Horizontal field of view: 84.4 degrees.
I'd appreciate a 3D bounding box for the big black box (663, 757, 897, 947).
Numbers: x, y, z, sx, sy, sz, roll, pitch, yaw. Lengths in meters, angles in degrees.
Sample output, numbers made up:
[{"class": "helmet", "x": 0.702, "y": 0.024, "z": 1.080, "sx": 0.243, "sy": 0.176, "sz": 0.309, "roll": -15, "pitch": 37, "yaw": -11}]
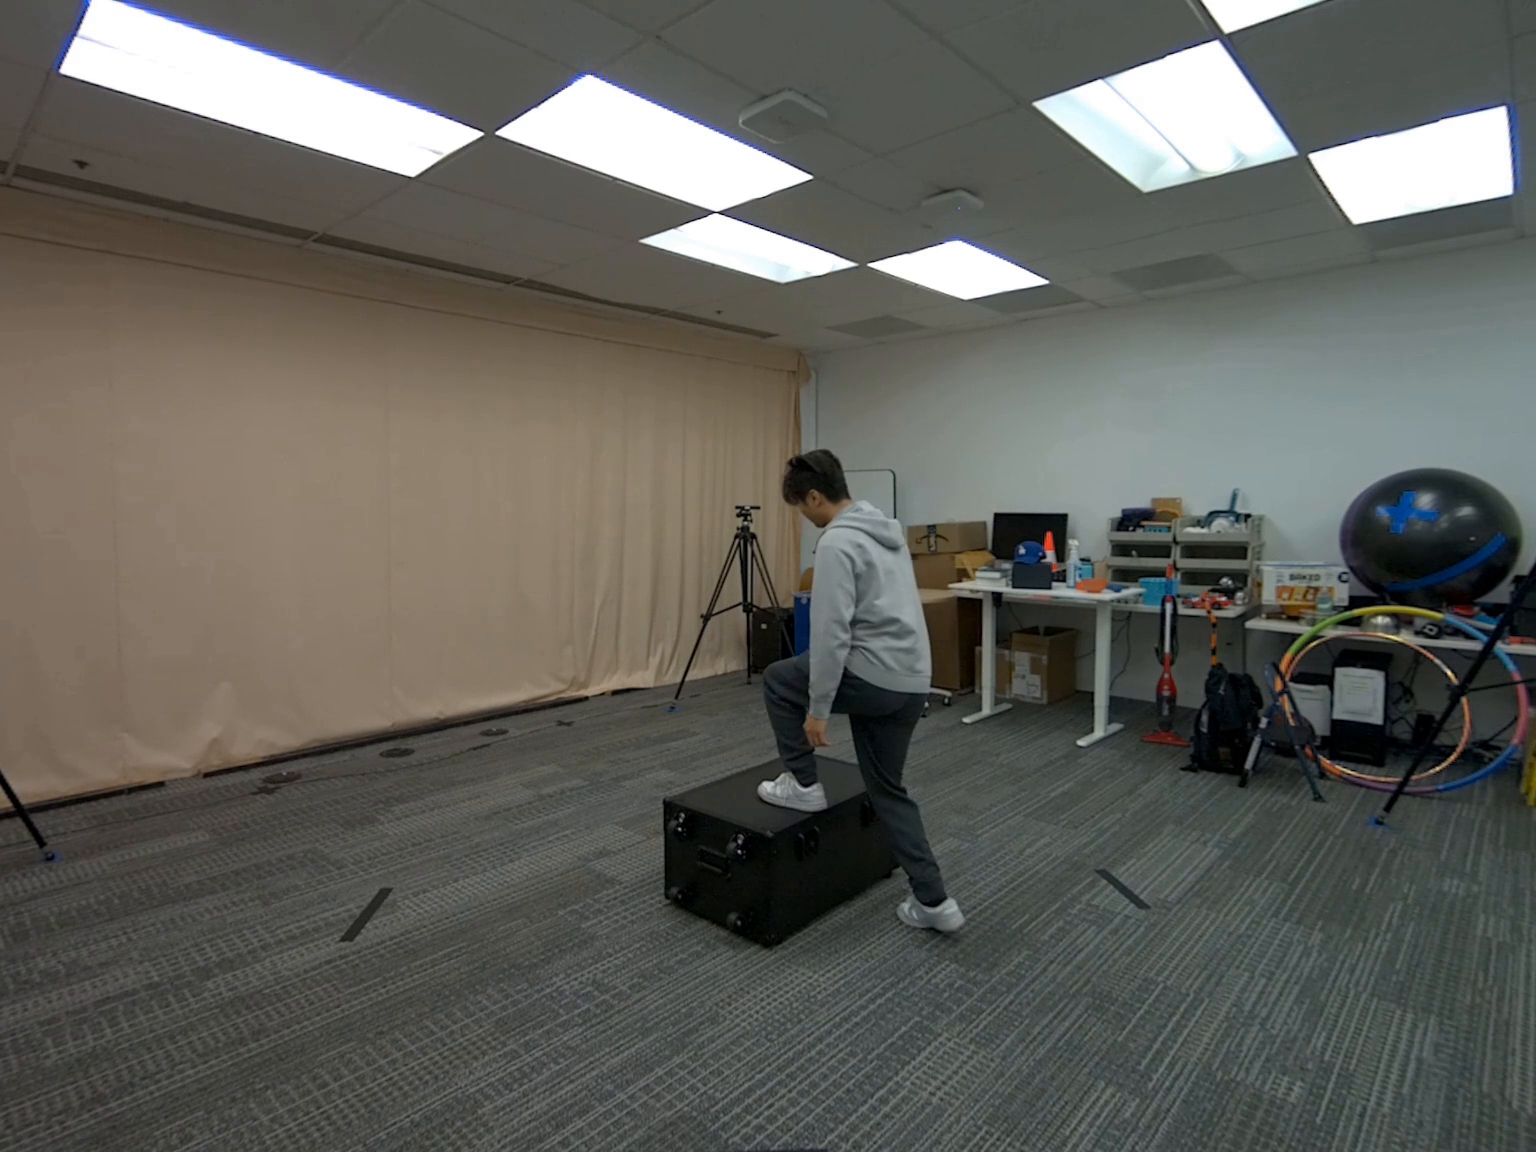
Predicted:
[{"class": "big black box", "x": 0.050, "y": 0.949, "z": 3.034, "sx": 0.538, "sy": 0.395, "sz": 0.835, "roll": 3, "pitch": 5, "yaw": 41}]
